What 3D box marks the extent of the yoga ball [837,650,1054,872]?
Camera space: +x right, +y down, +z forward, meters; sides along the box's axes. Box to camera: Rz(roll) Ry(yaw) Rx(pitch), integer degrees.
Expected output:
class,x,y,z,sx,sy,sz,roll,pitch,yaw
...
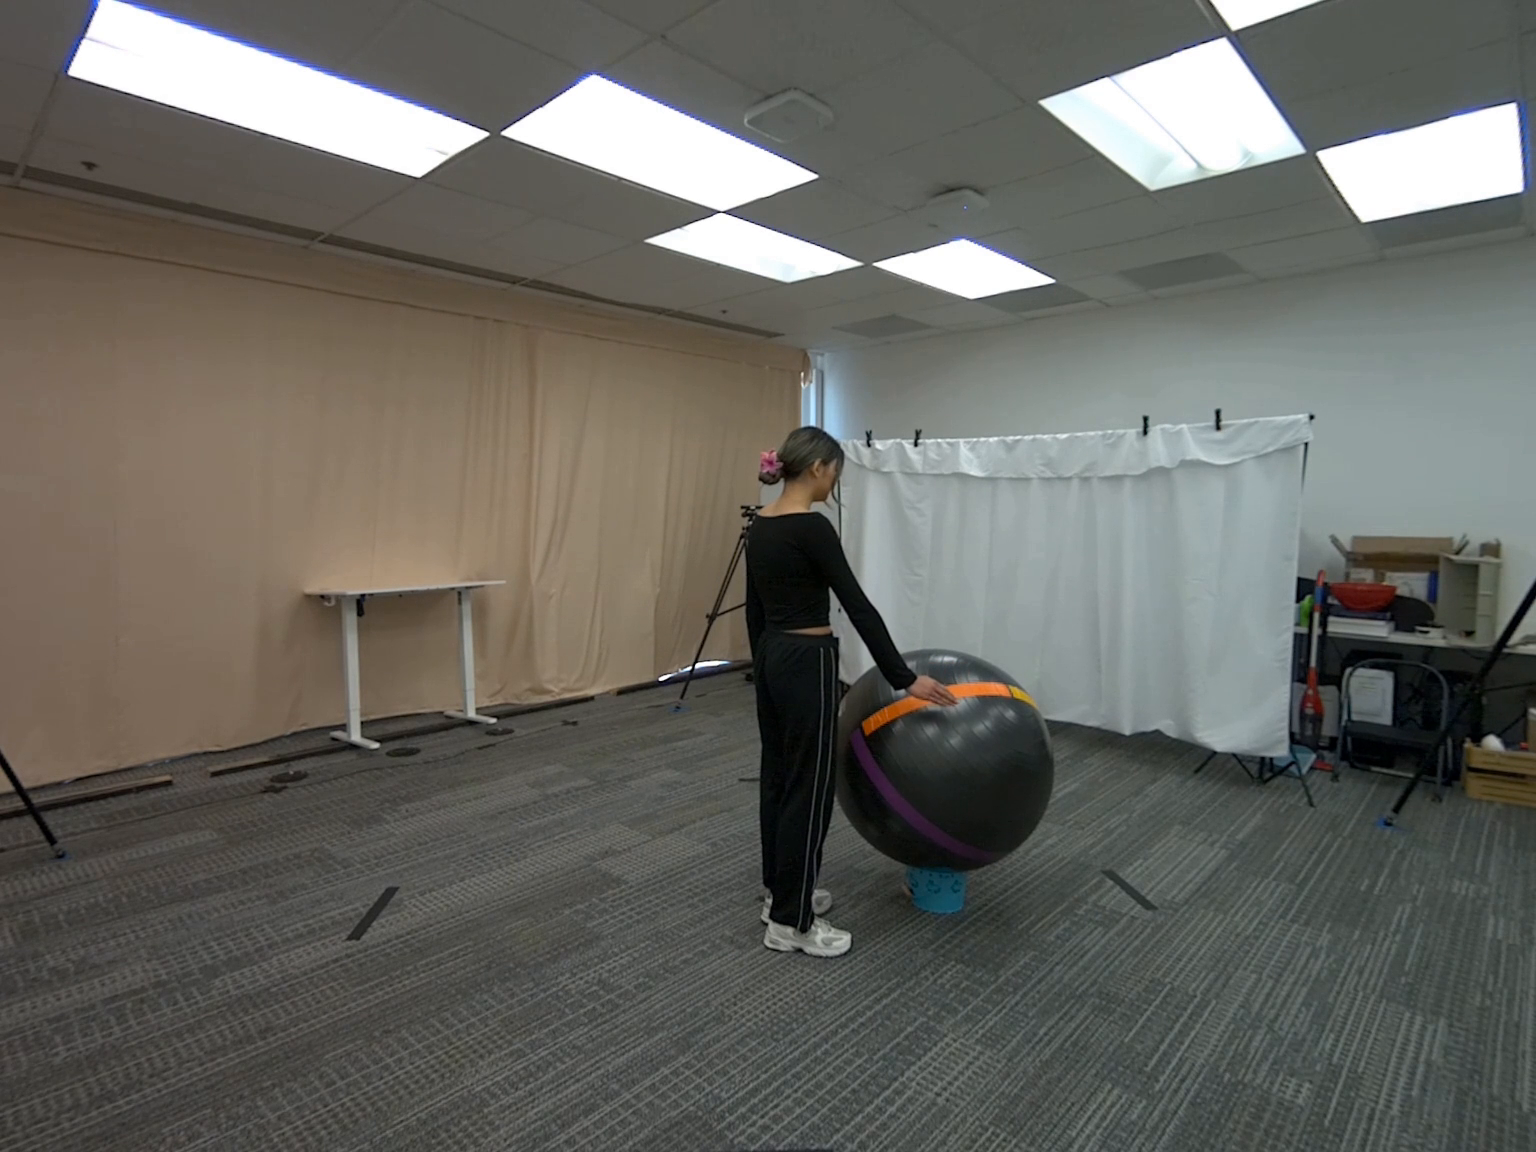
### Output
class,x,y,z,sx,sy,sz,roll,pitch,yaw
yoga ball,0.606,0.636,2.943,0.757,0.756,0.760,0,4,-2
